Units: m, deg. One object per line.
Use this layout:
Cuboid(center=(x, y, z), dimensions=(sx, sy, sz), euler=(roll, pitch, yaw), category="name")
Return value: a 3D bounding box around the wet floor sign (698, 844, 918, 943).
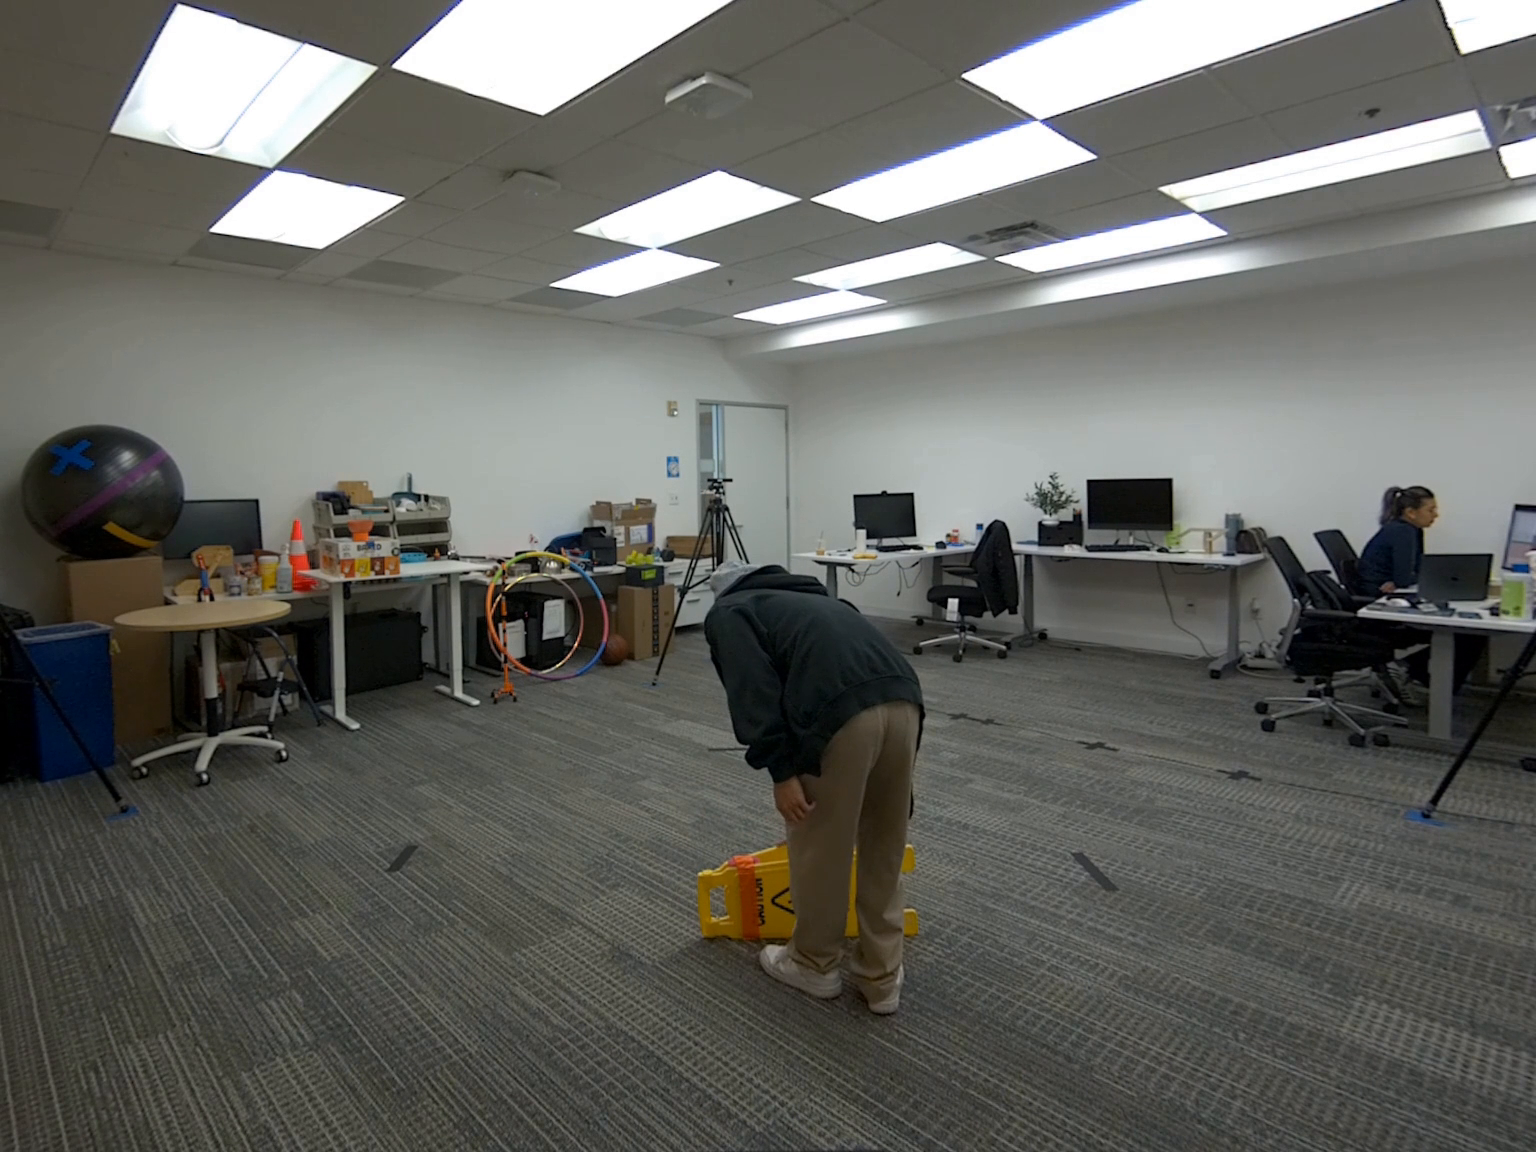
Cuboid(center=(0.112, 0.970, 2.644), dimensions=(0.640, 0.281, 0.294), euler=(-6, 5, -11), category="wet floor sign")
